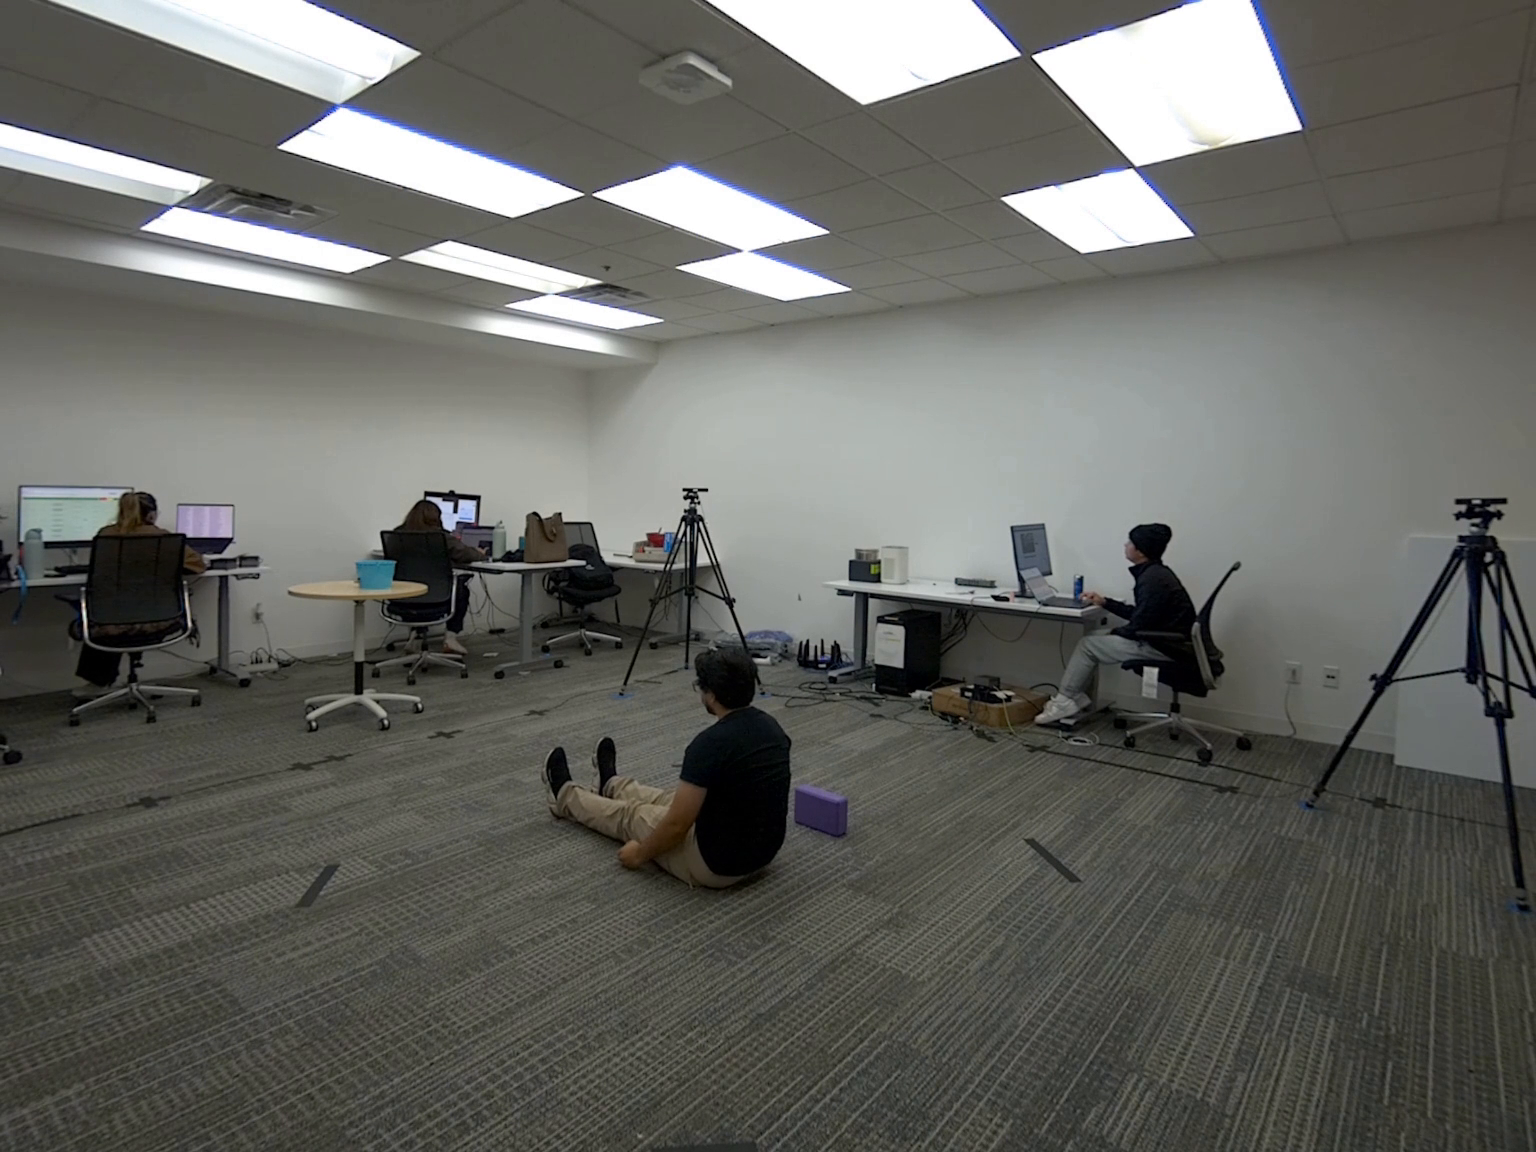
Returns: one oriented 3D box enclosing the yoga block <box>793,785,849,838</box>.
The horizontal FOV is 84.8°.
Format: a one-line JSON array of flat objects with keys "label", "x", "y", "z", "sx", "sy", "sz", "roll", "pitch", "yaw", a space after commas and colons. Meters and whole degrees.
[{"label": "yoga block", "x": 0.209, "y": 0.962, "z": 3.521, "sx": 0.237, "sy": 0.148, "sz": 0.074, "roll": 5, "pitch": 6, "yaw": 42}]
